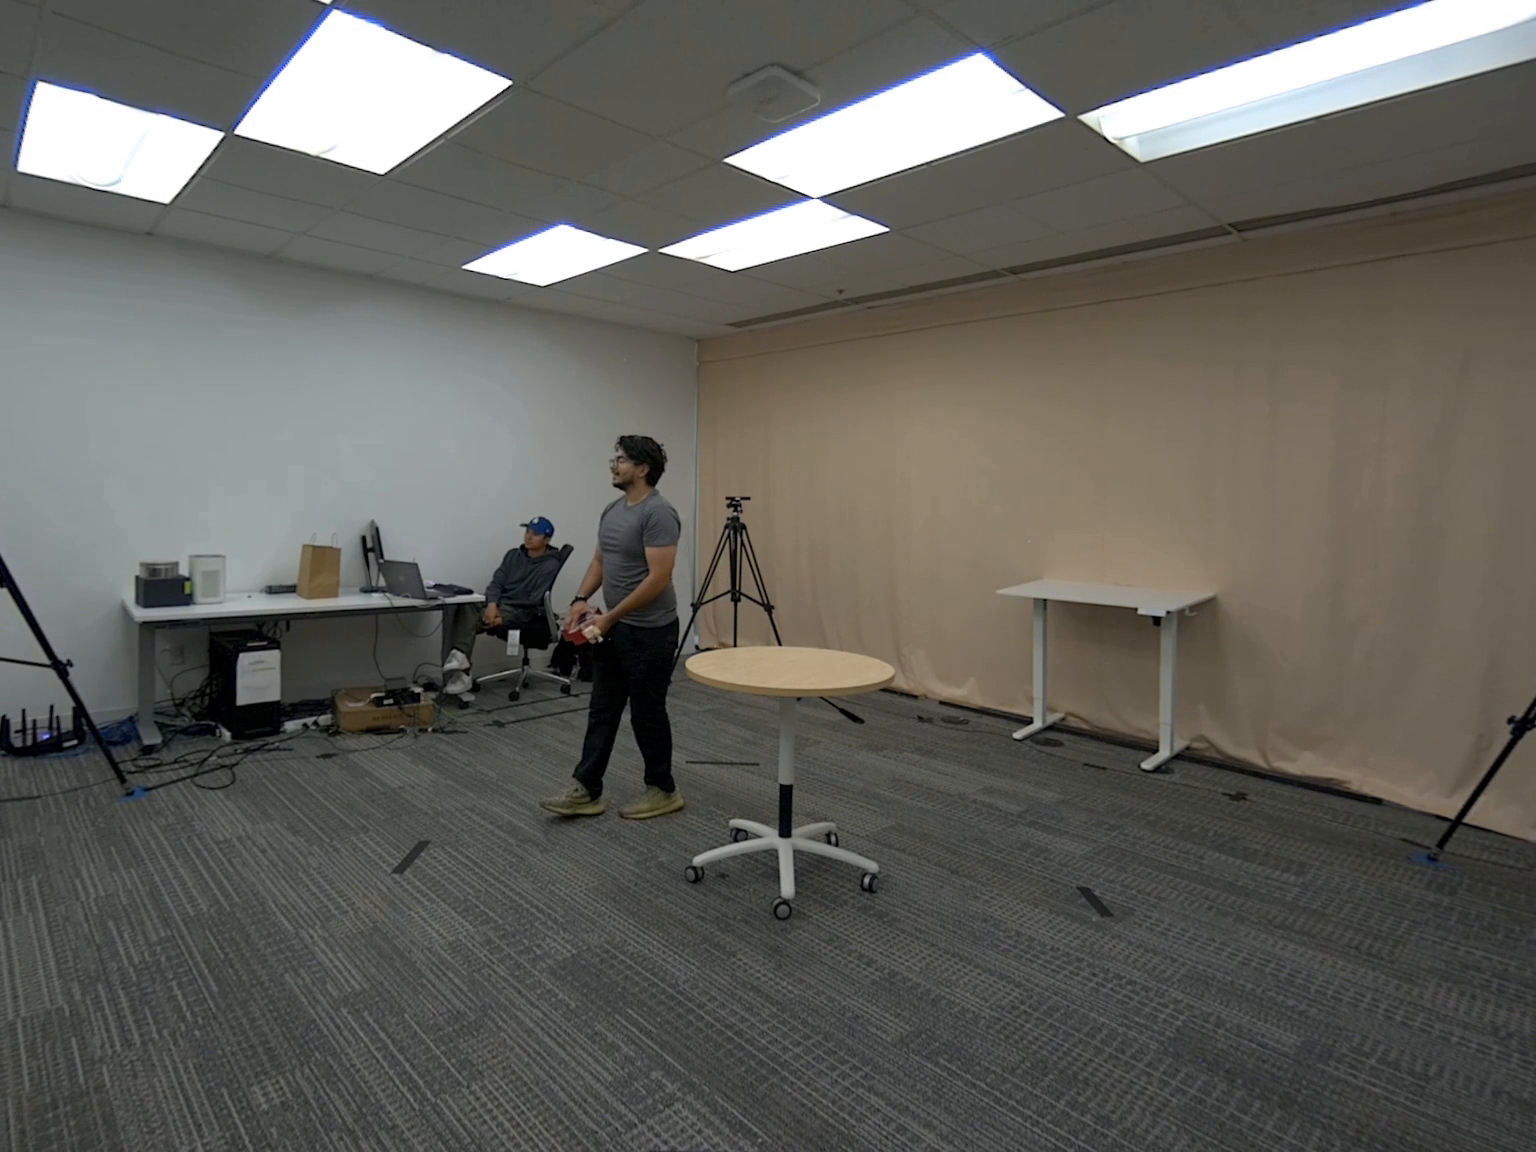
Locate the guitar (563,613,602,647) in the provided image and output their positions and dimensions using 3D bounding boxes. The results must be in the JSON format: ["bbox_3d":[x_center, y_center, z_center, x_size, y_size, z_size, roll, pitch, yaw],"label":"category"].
[{"bbox_3d":[-0.780,0.234,3.475,0.193,0.070,0.505,-30,15,-4],"label":"guitar"}]
